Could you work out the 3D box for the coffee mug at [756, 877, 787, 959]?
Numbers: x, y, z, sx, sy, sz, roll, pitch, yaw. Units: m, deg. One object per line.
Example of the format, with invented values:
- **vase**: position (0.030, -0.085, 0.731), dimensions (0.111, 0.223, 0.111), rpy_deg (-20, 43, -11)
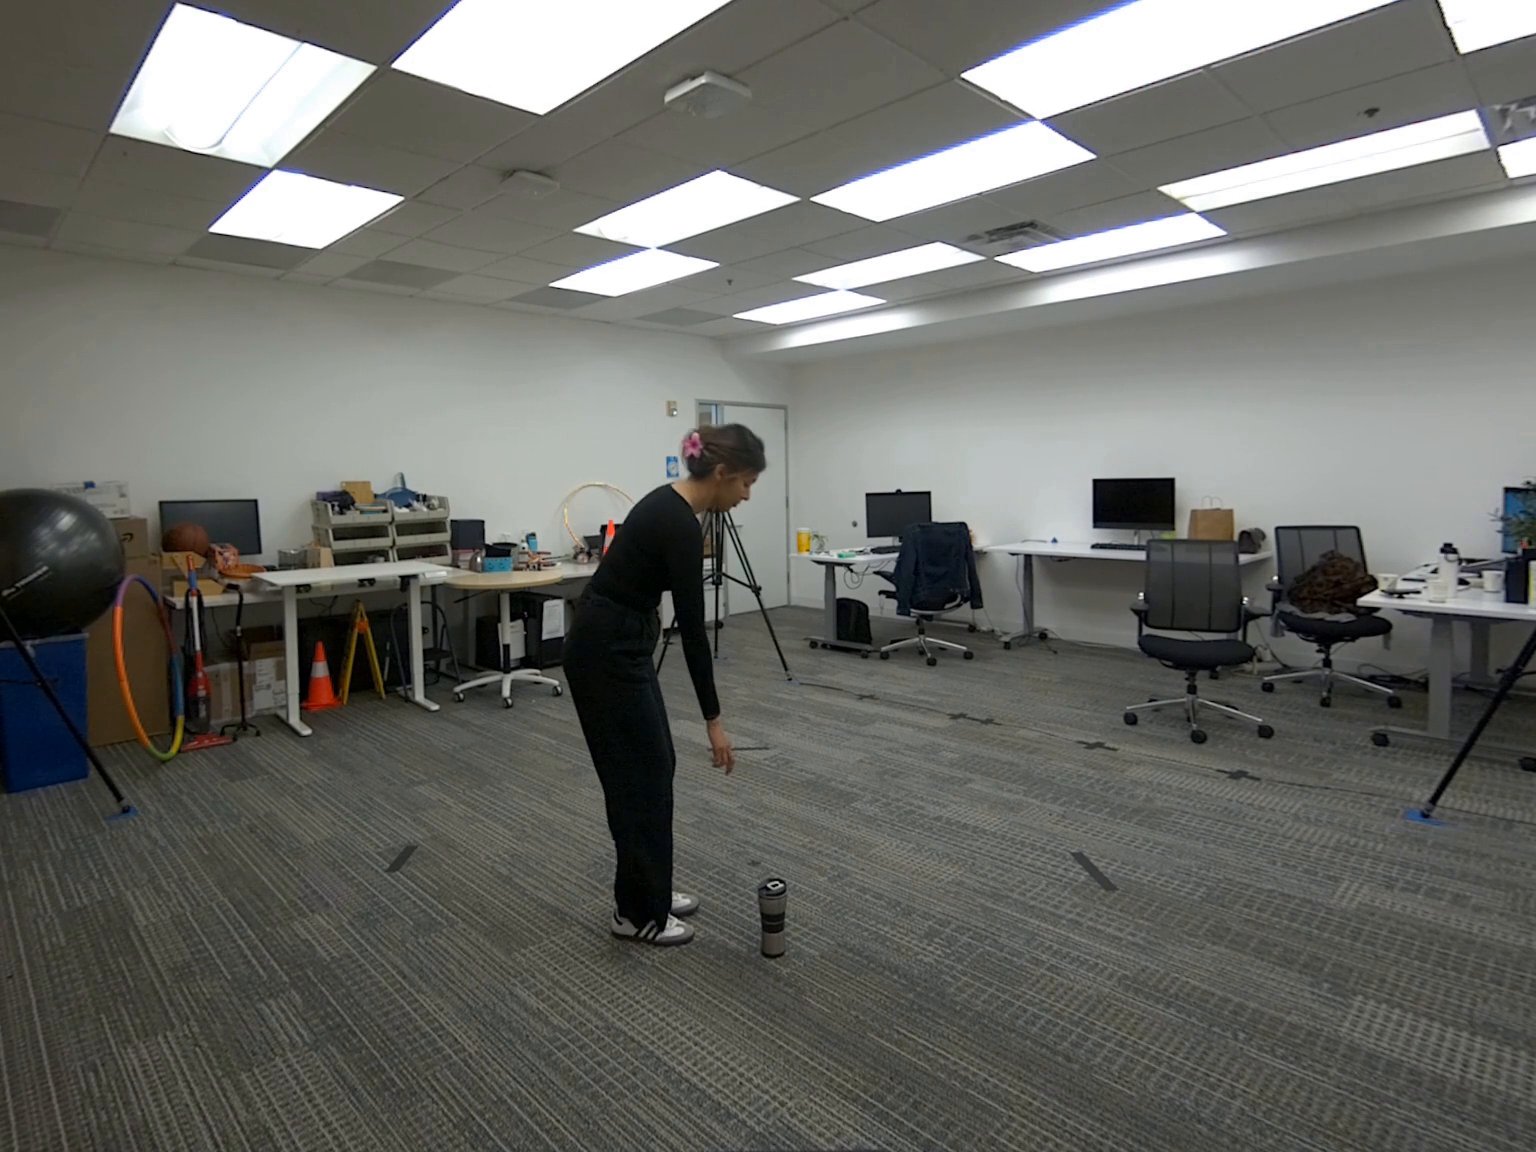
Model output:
- **coffee mug**: position (0.019, 1.007, 2.533), dimensions (0.090, 0.202, 0.119), rpy_deg (-1, 8, 38)
